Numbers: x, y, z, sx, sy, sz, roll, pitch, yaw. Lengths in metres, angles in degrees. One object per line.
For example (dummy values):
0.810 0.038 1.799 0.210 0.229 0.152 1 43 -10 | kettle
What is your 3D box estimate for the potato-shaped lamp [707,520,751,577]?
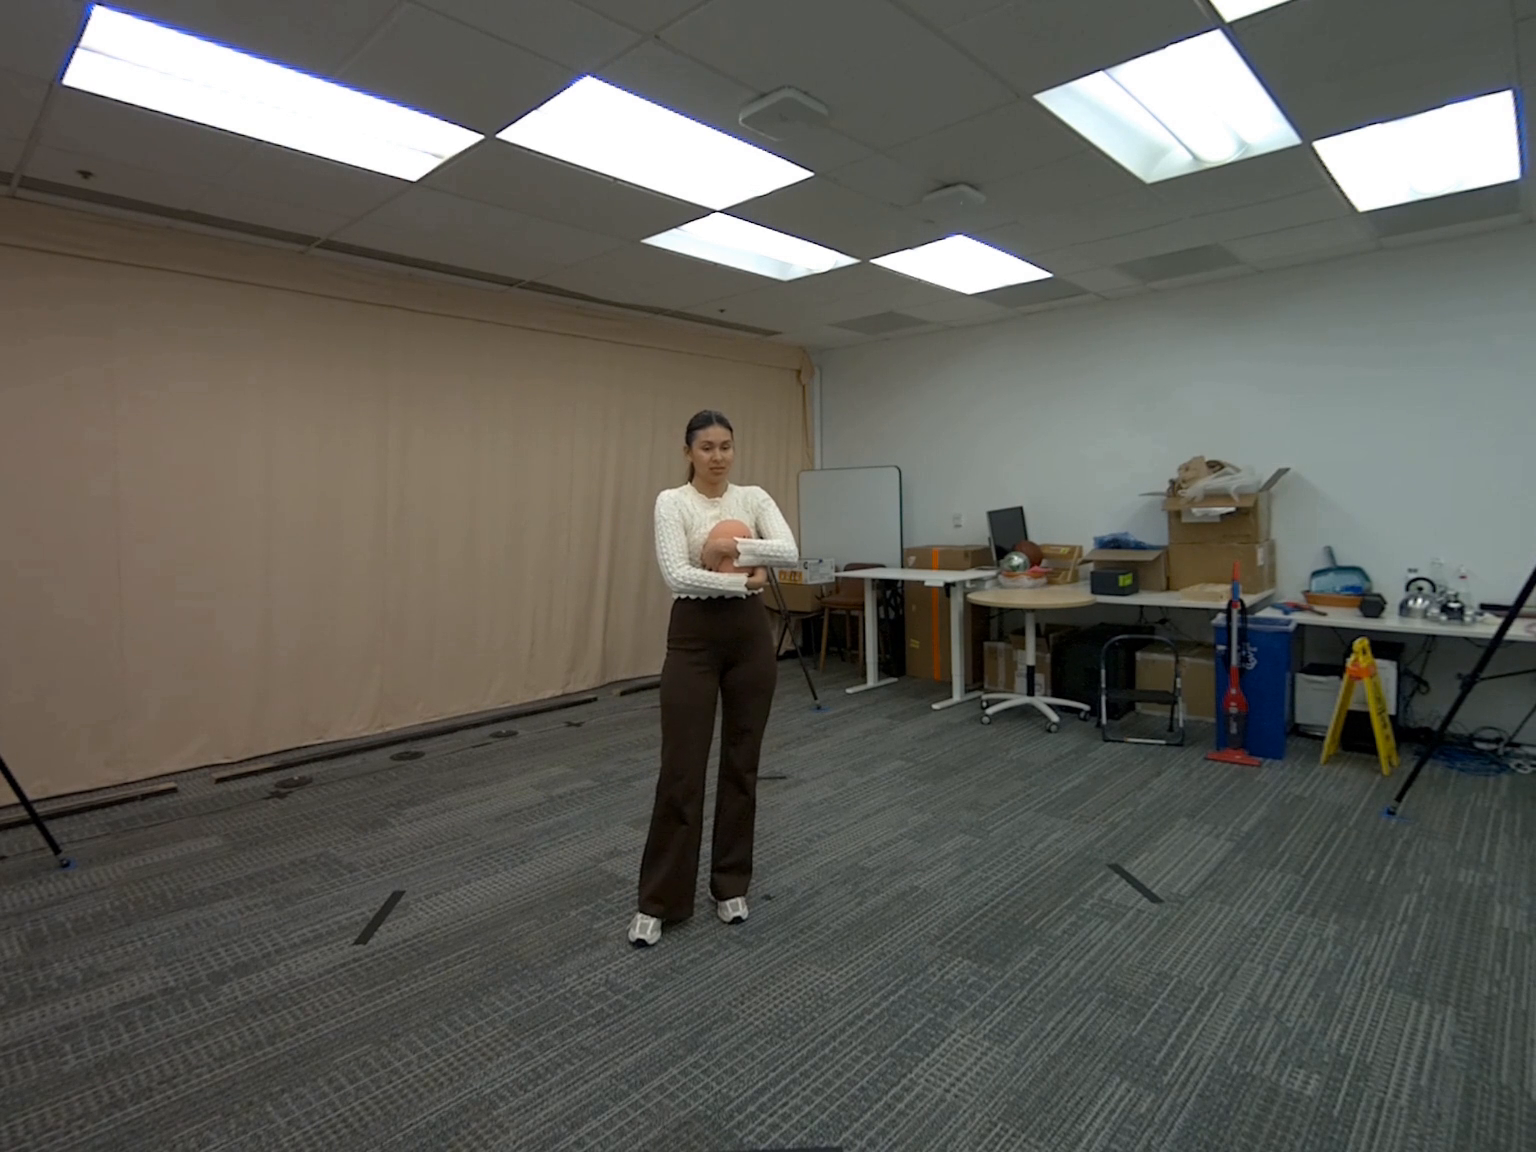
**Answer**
-0.124 -0.089 2.776 0.168 0.166 0.201 -17 39 23 | potato-shaped lamp
